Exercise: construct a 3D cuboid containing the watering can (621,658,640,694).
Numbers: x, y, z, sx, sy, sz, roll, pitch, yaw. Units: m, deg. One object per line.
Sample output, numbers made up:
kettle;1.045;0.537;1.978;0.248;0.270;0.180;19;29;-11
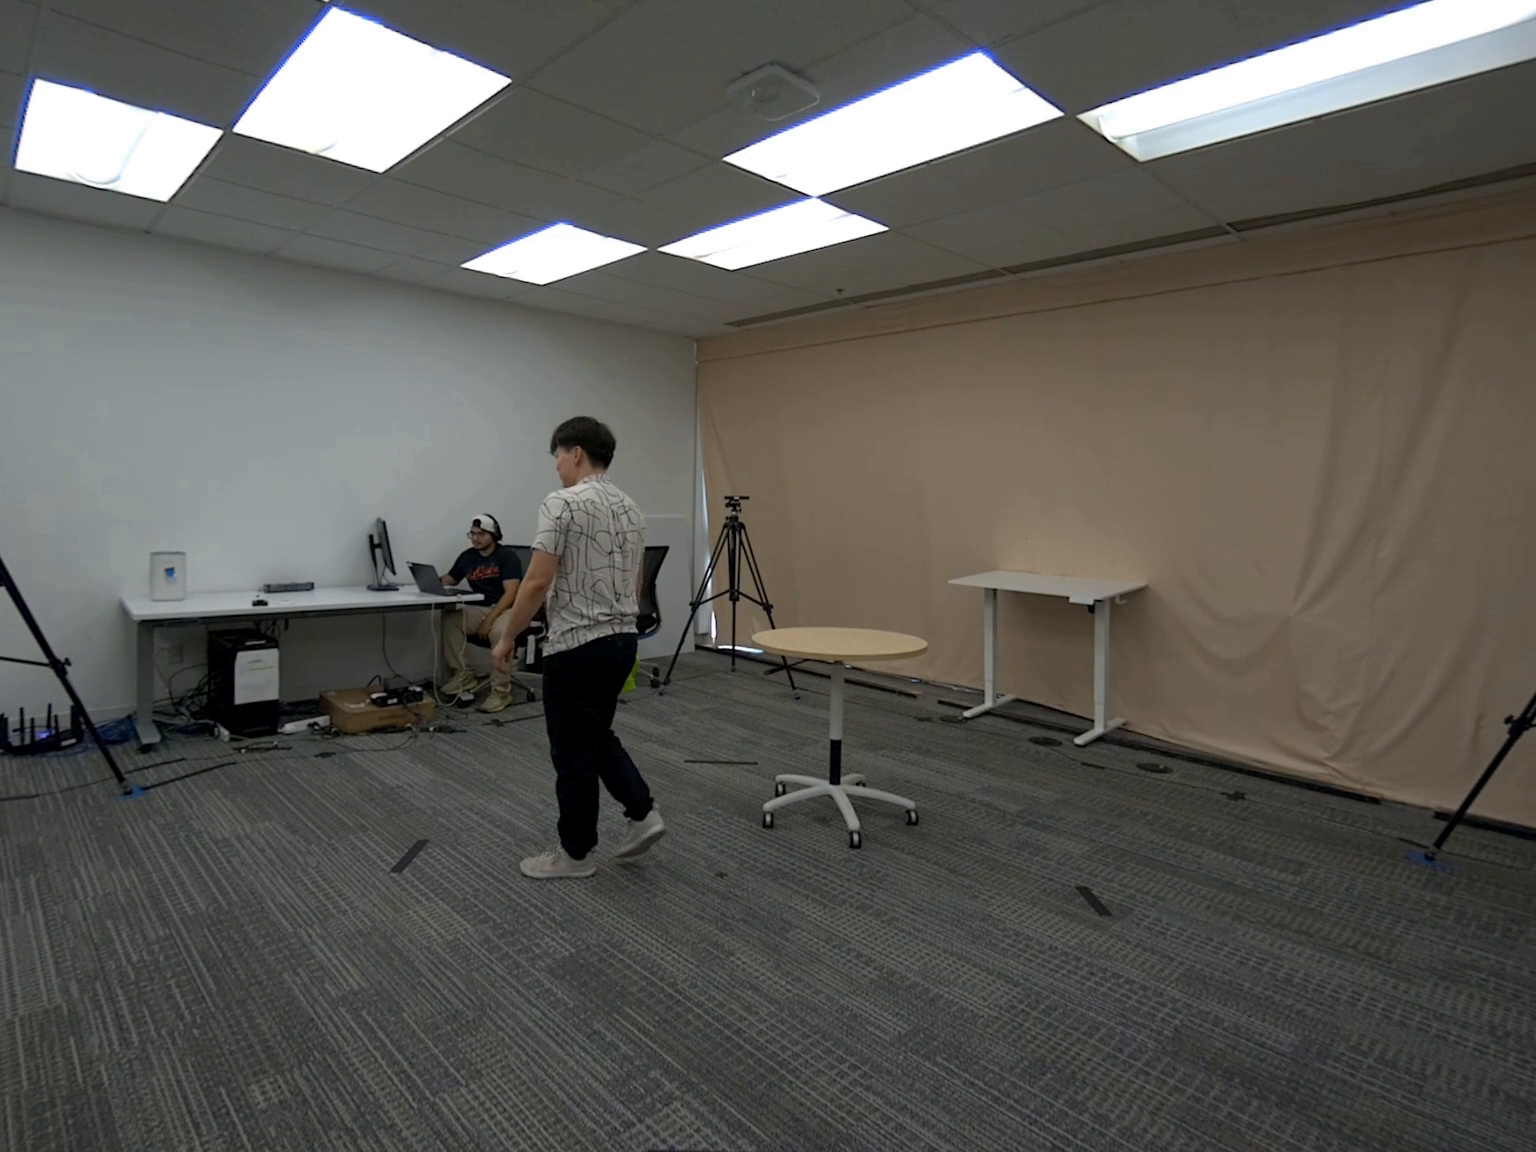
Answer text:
watering can;-0.667;0.385;3.391;0.282;0.176;0.097;-6;2;19
